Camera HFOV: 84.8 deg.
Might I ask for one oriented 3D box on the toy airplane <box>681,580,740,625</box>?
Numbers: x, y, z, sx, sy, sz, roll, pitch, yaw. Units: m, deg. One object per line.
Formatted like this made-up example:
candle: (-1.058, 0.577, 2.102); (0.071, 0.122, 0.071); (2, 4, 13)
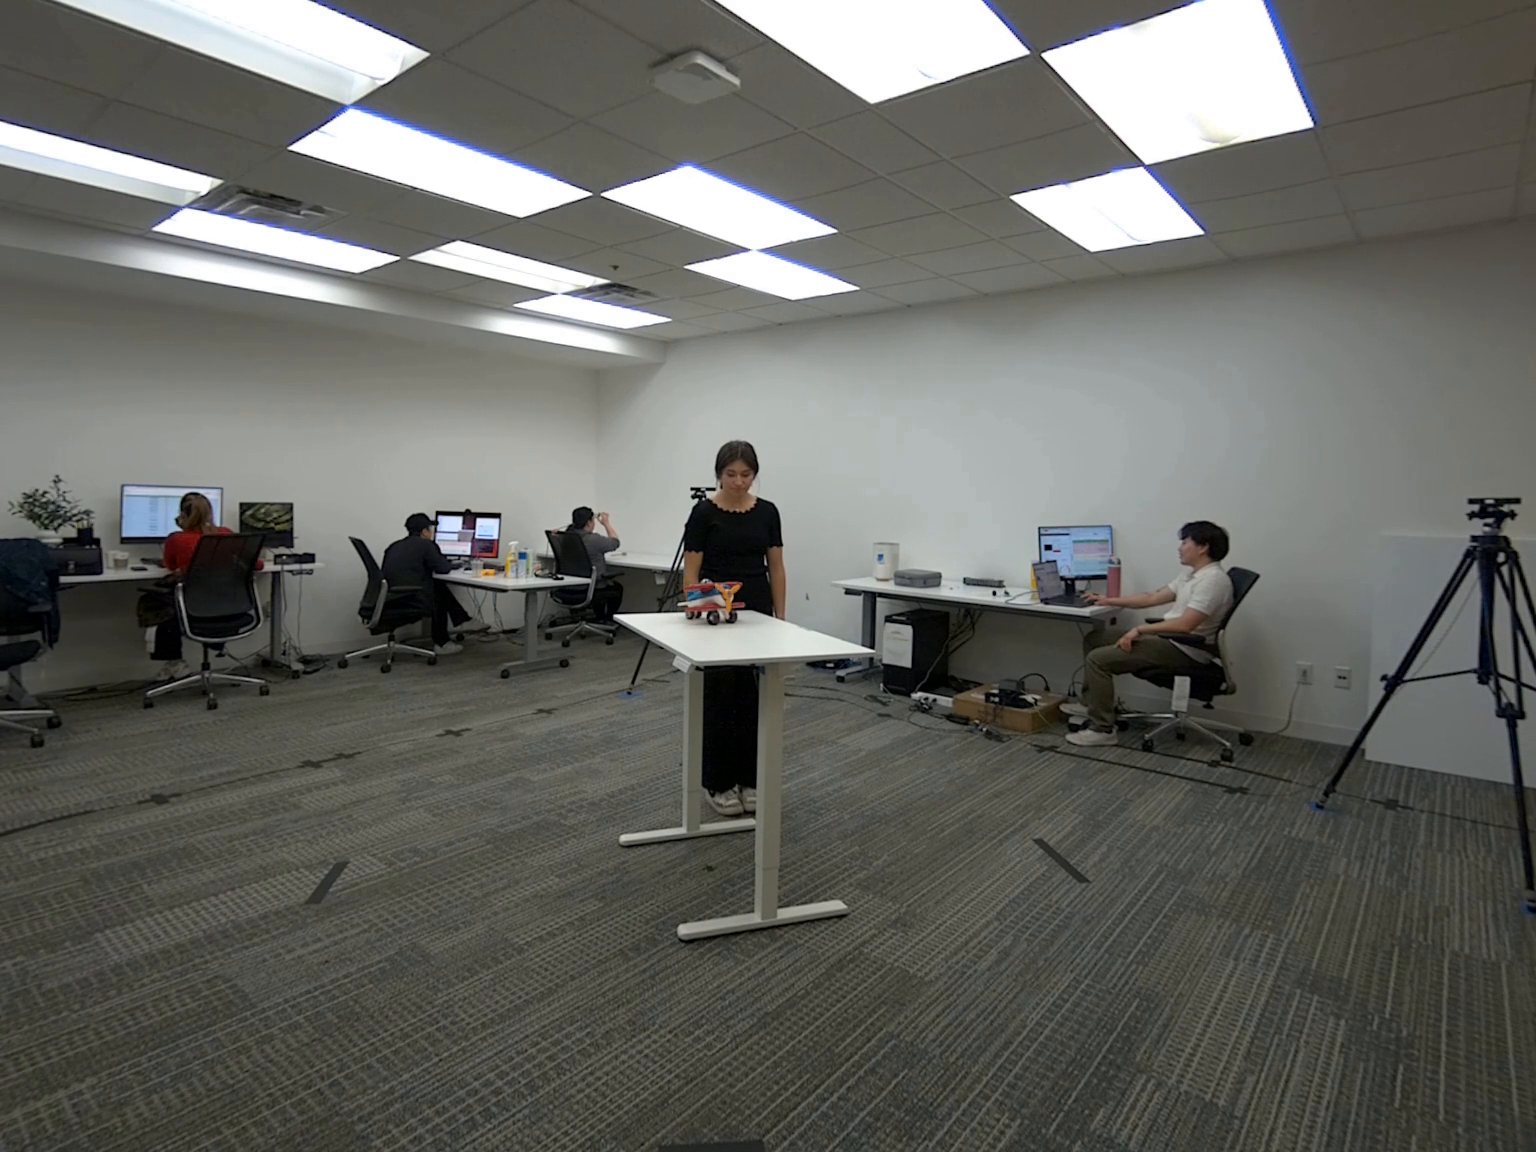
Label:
toy airplane: (-0.252, 0.094, 3.241); (0.265, 0.156, 0.246); (4, 3, 22)
